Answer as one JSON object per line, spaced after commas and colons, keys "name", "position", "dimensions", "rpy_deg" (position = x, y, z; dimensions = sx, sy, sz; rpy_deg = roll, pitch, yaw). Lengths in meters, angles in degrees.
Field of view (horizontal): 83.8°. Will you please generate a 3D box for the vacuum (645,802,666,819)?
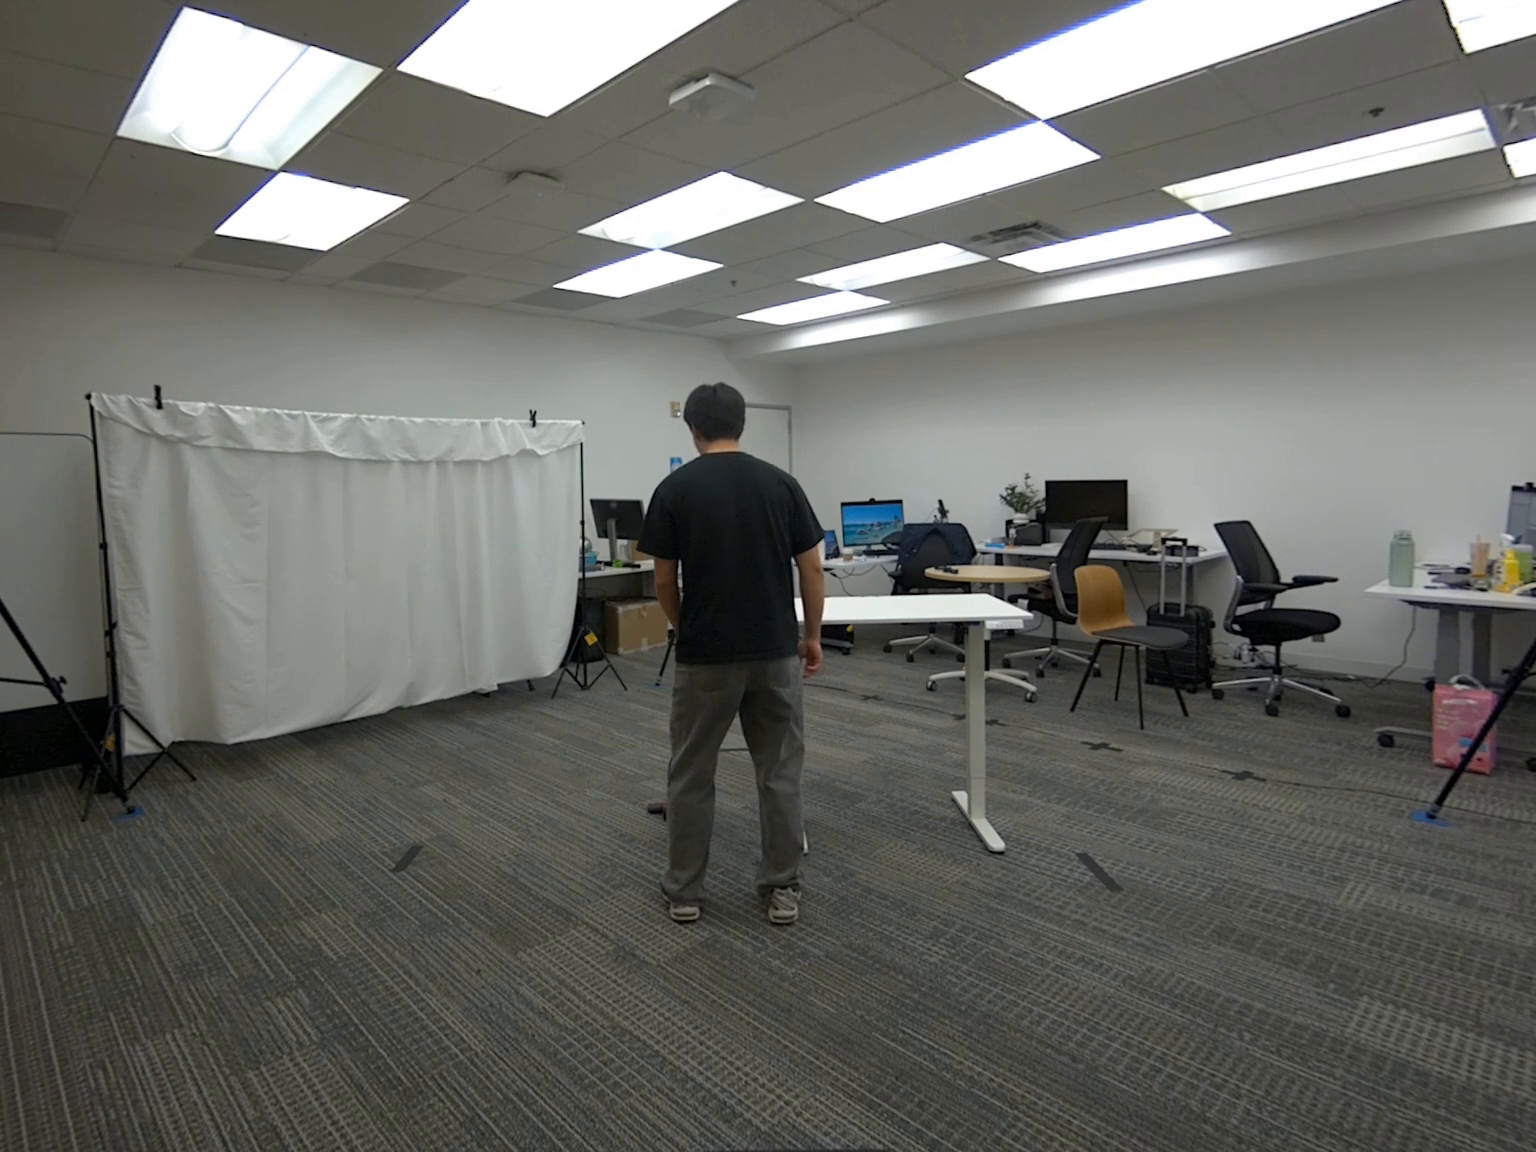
{"name": "vacuum", "position": [-0.322, 0.610, 3.269], "dimensions": [0.250, 1.026, 0.148], "rpy_deg": [0, 43, -10]}
